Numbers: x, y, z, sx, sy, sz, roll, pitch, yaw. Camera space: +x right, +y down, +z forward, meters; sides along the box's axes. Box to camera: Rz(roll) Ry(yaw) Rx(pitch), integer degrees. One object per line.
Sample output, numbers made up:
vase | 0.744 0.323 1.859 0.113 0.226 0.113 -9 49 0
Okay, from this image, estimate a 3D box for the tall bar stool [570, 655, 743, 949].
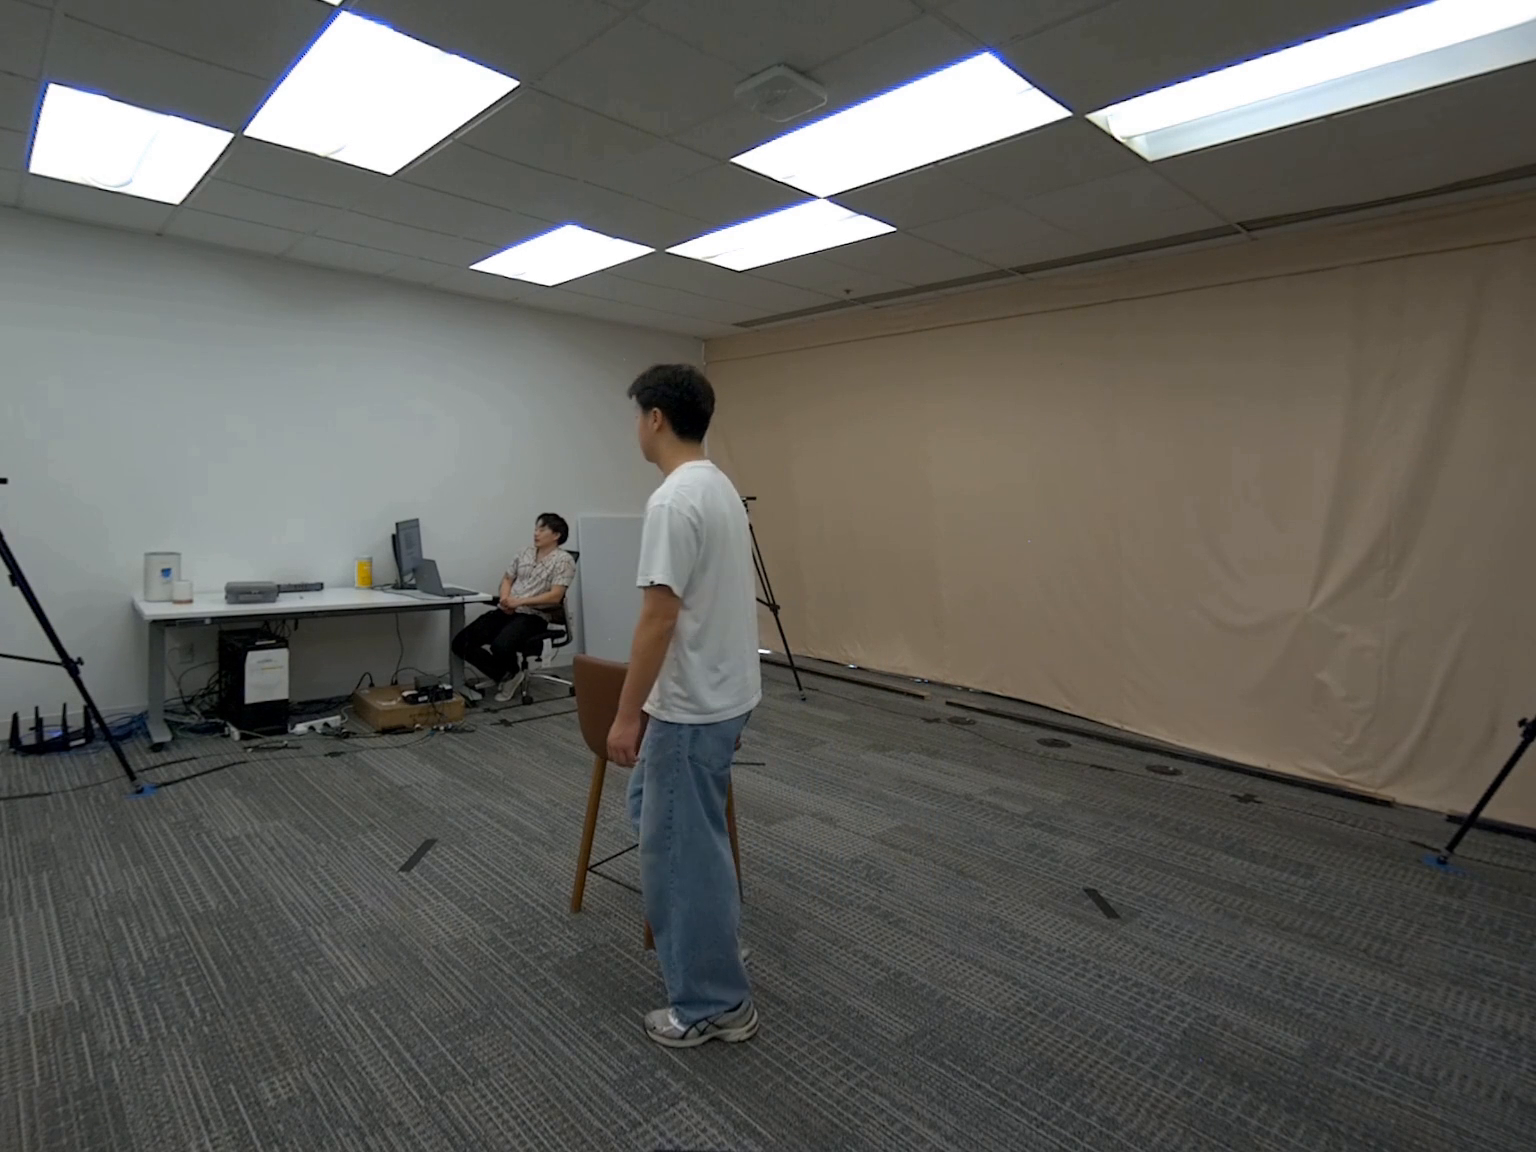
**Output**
tall bar stool | -0.383 0.690 2.842 0.468 0.886 0.458 4 6 39
